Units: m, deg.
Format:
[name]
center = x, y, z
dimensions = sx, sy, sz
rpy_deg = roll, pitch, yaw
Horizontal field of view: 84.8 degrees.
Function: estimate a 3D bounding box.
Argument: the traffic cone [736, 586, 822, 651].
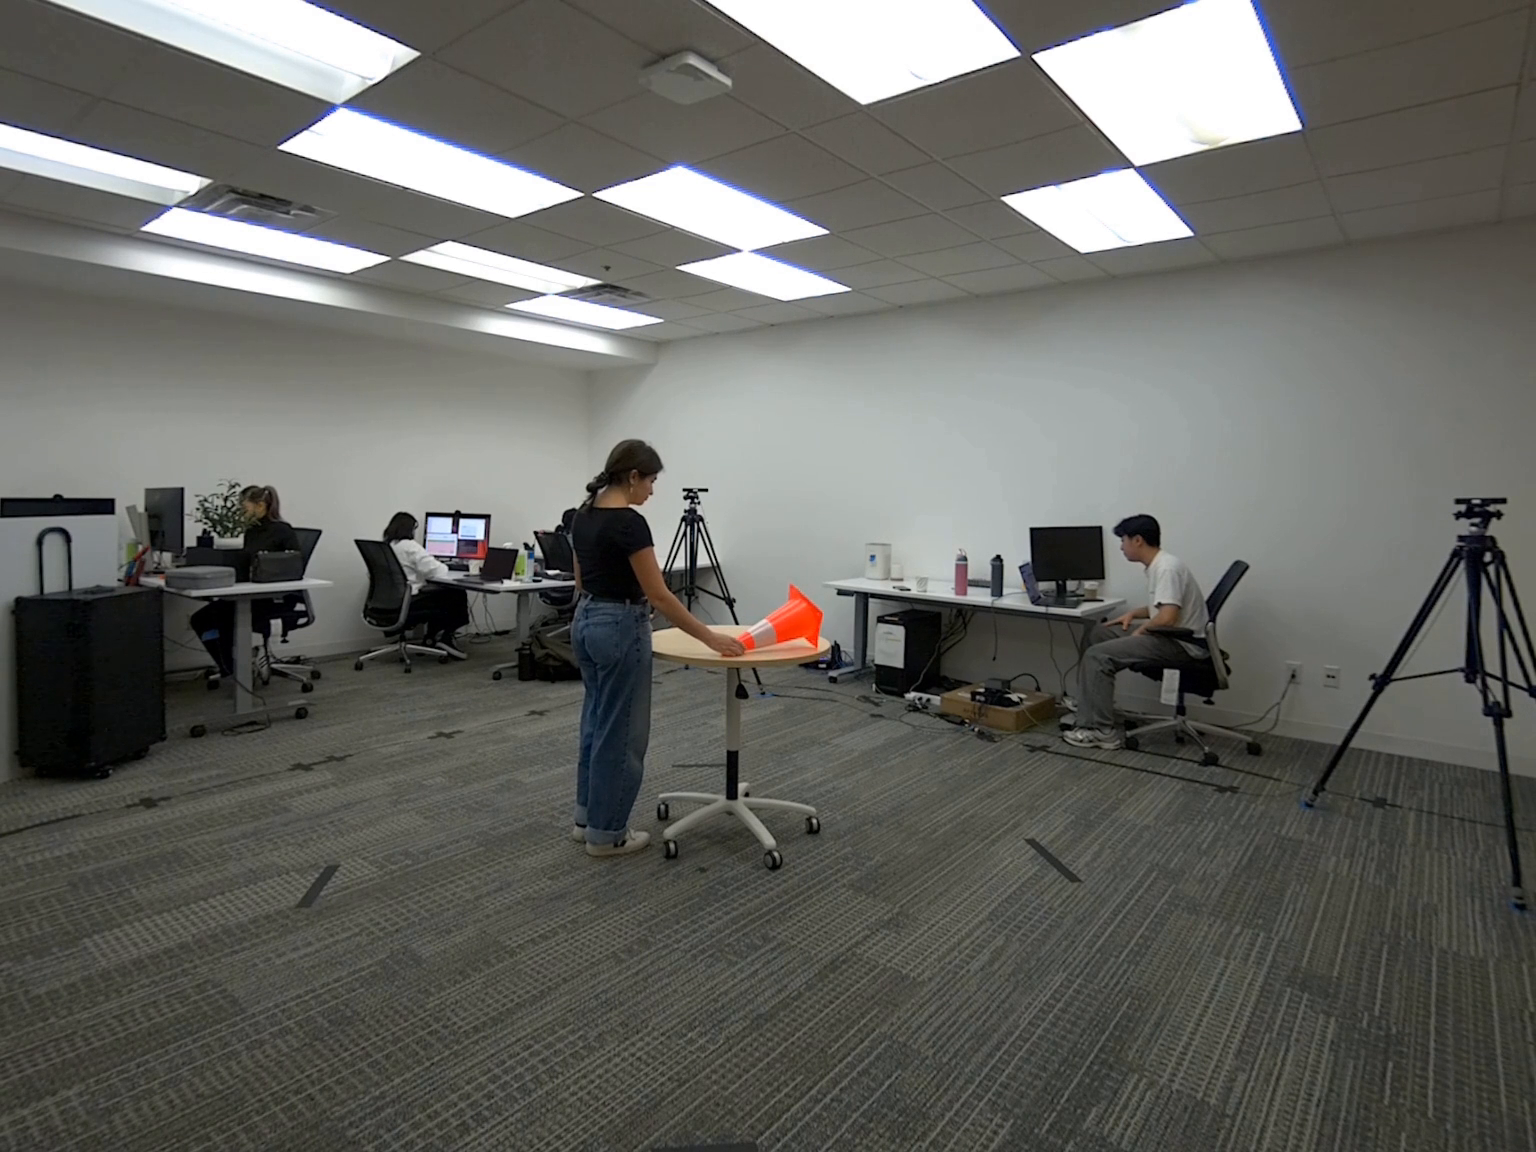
[traffic cone]
center = -0.019, 0.213, 3.215
dimensions = 0.378, 0.198, 0.214
rpy_deg = -21, 42, -26
